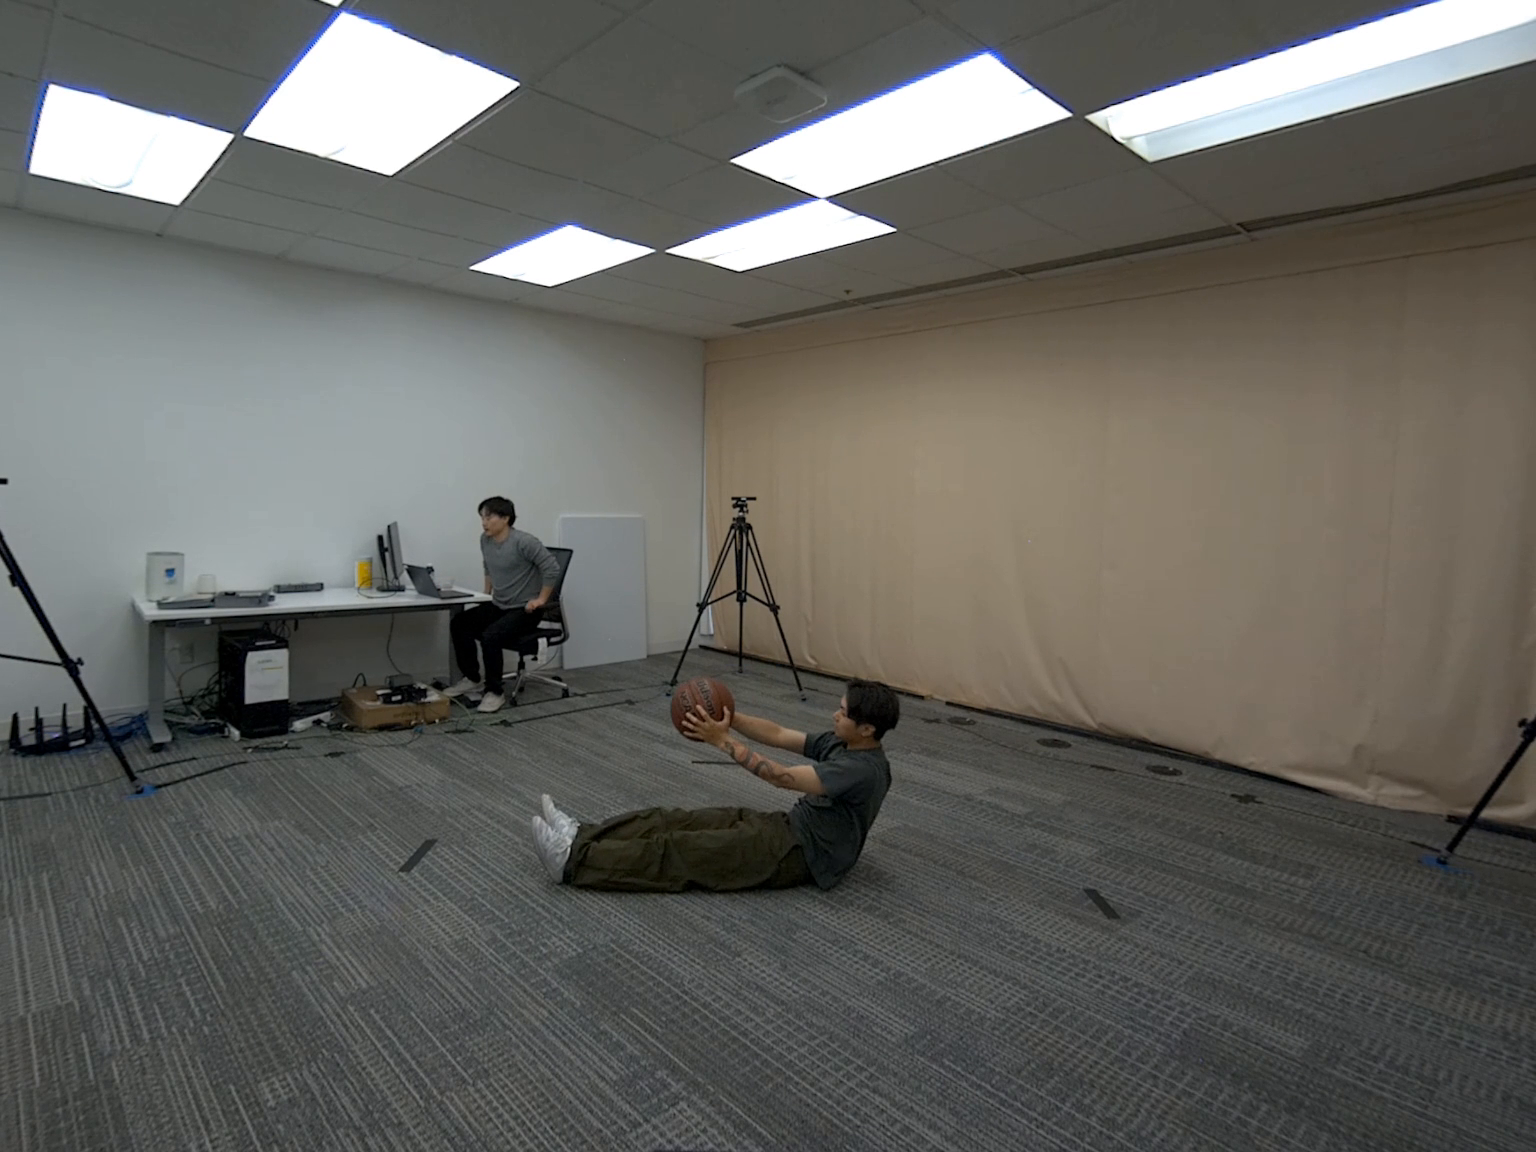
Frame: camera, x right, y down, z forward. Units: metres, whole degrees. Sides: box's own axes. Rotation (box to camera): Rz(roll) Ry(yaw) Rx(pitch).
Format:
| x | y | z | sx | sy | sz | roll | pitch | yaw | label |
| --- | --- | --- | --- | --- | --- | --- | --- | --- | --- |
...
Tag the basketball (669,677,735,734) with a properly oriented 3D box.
| x | y | z | sx | sy | sz | roll | pitch | yaw | label |
| --- | --- | --- | --- | --- | --- | --- | --- | --- | --- |
| -0.245 | 0.494 | 3.110 | 0.236 | 0.235 | 0.237 | 1 | 4 | -1 | basketball |
